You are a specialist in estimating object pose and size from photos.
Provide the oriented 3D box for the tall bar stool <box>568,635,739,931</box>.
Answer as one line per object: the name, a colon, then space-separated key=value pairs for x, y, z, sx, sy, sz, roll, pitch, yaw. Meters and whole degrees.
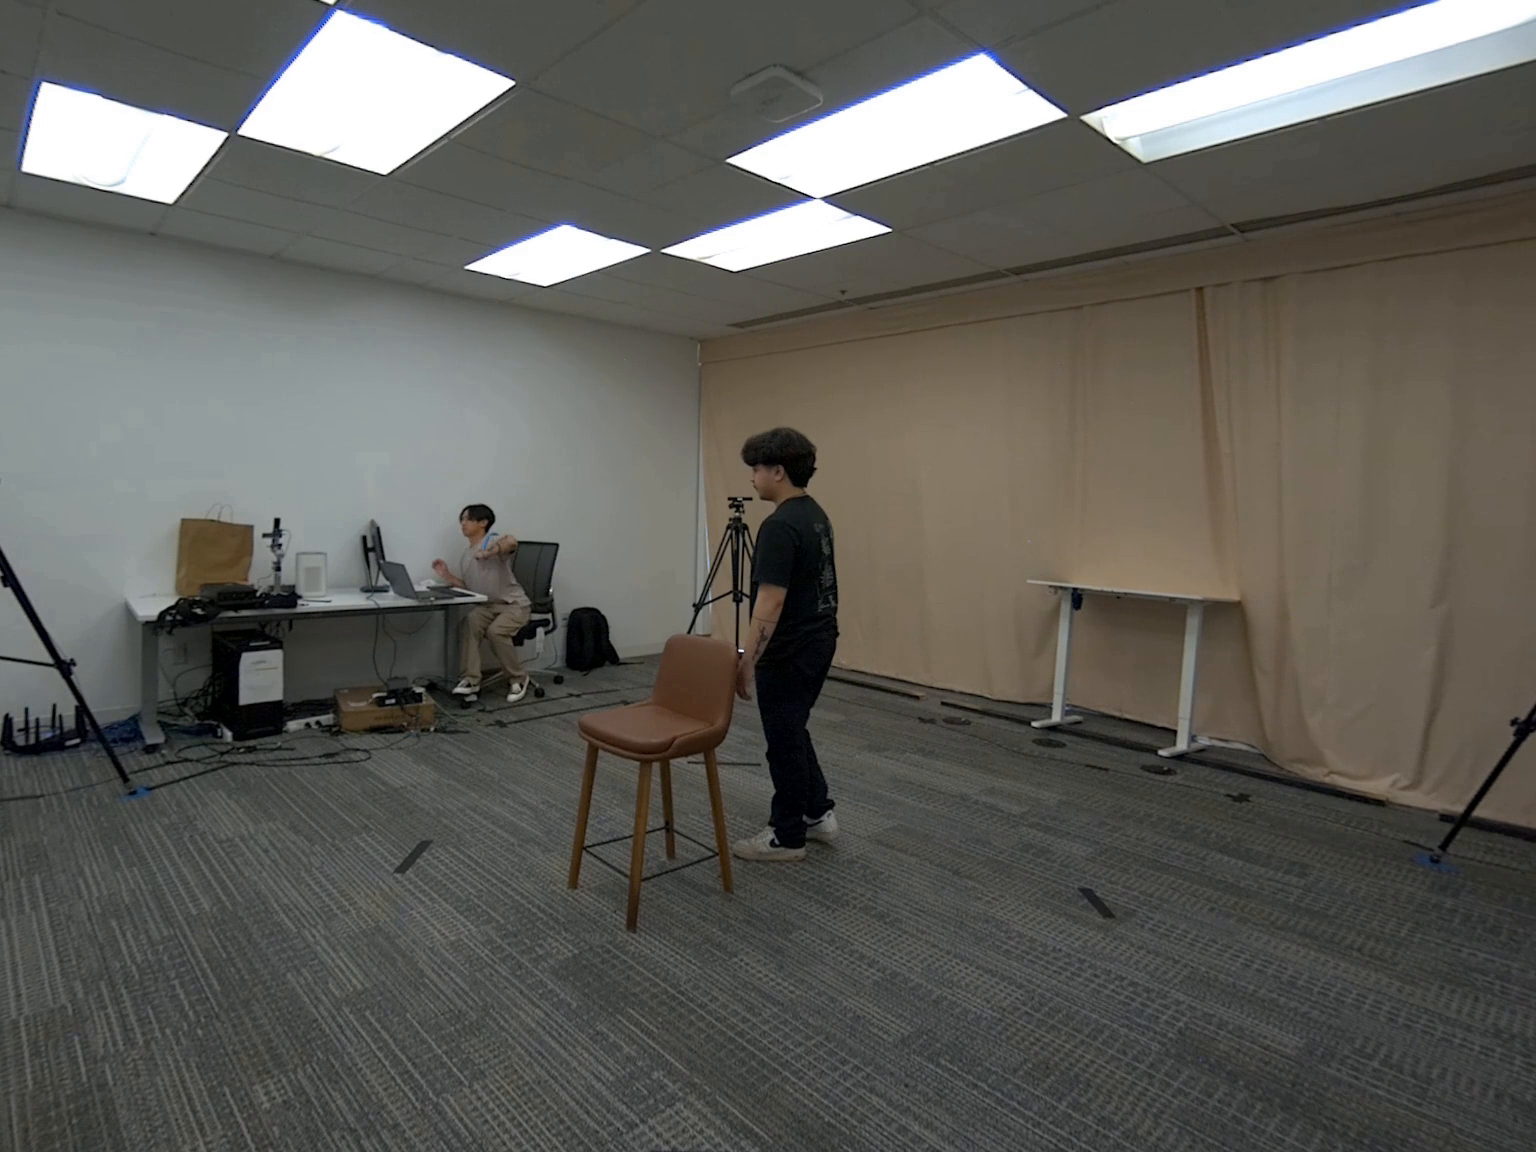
tall bar stool: x=-0.399 y=0.680 z=2.956 sx=0.456 sy=0.888 sz=0.468 roll=1 pitch=3 yaw=-41
